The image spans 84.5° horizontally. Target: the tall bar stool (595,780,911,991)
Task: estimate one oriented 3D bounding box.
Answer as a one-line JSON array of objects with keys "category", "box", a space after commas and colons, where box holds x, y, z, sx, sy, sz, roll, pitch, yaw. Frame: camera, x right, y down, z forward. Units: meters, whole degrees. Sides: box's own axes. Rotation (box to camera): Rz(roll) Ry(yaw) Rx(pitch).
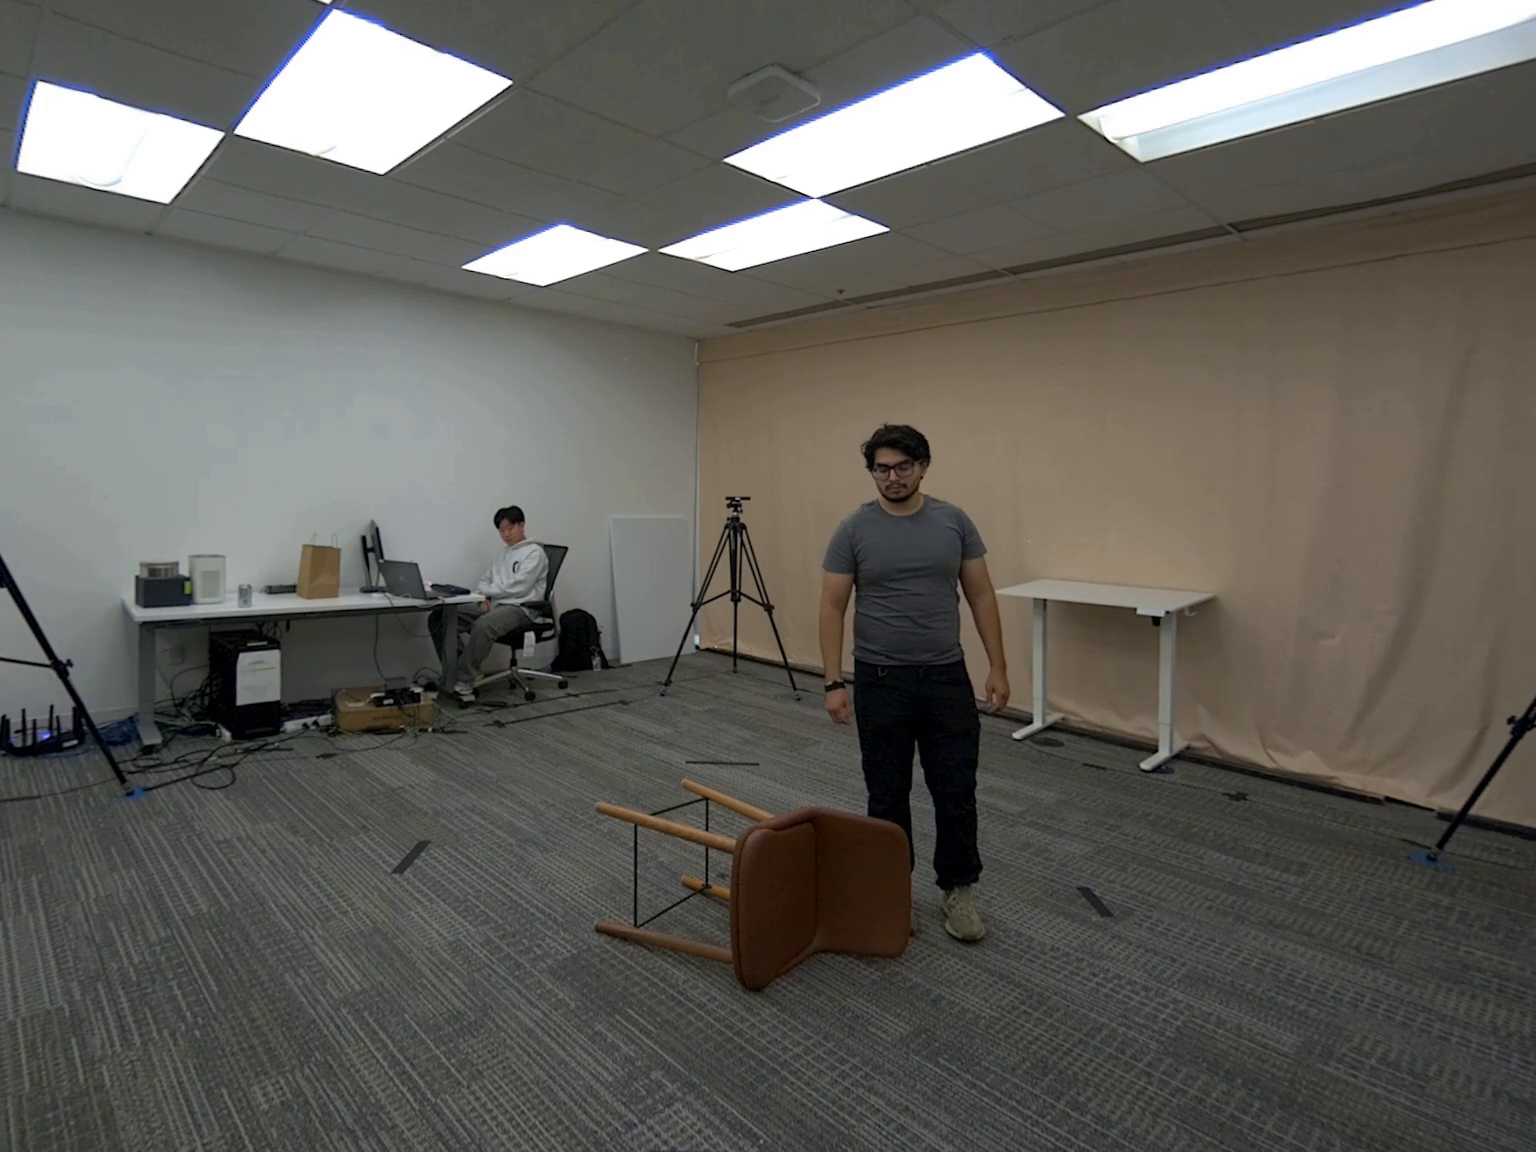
[{"category": "tall bar stool", "box": [-0.070, 0.942, 2.605, 0.910, 0.456, 0.457, 2, 2, 35]}]
